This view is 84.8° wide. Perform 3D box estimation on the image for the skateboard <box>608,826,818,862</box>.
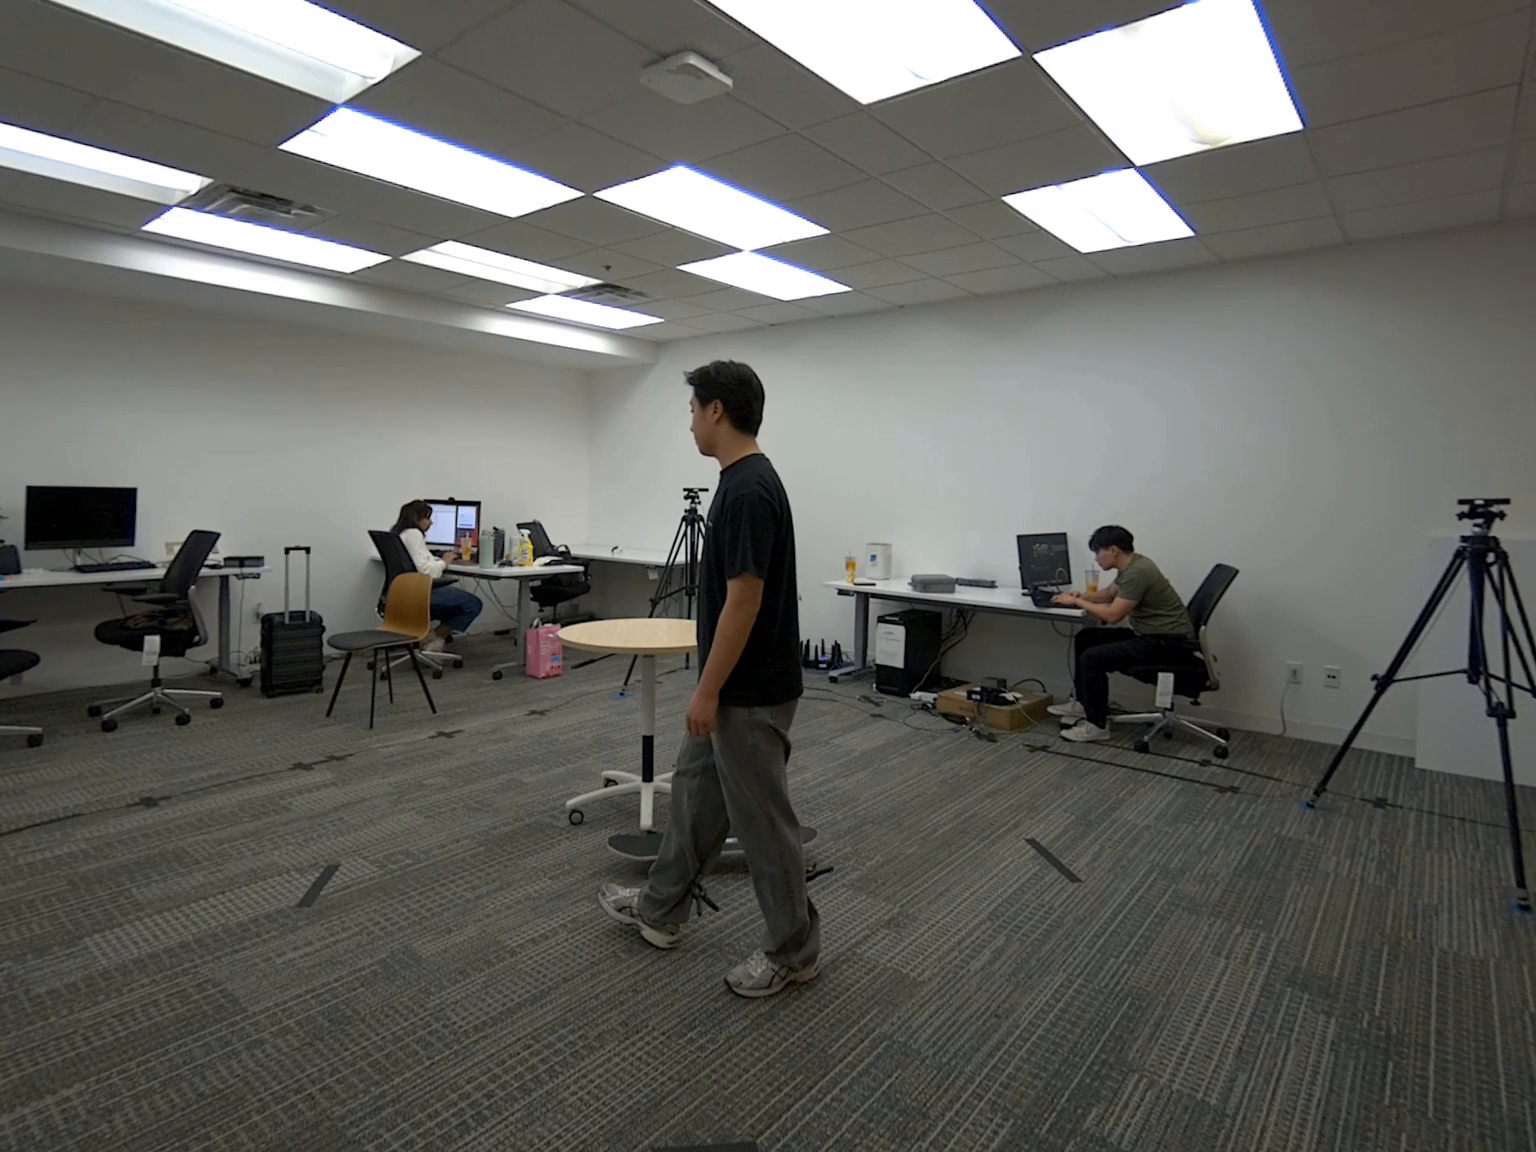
[{"bbox_3d":[-0.205,1.005,3.137,0.776,0.110,0.196,0,4,-11],"label":"skateboard"}]
